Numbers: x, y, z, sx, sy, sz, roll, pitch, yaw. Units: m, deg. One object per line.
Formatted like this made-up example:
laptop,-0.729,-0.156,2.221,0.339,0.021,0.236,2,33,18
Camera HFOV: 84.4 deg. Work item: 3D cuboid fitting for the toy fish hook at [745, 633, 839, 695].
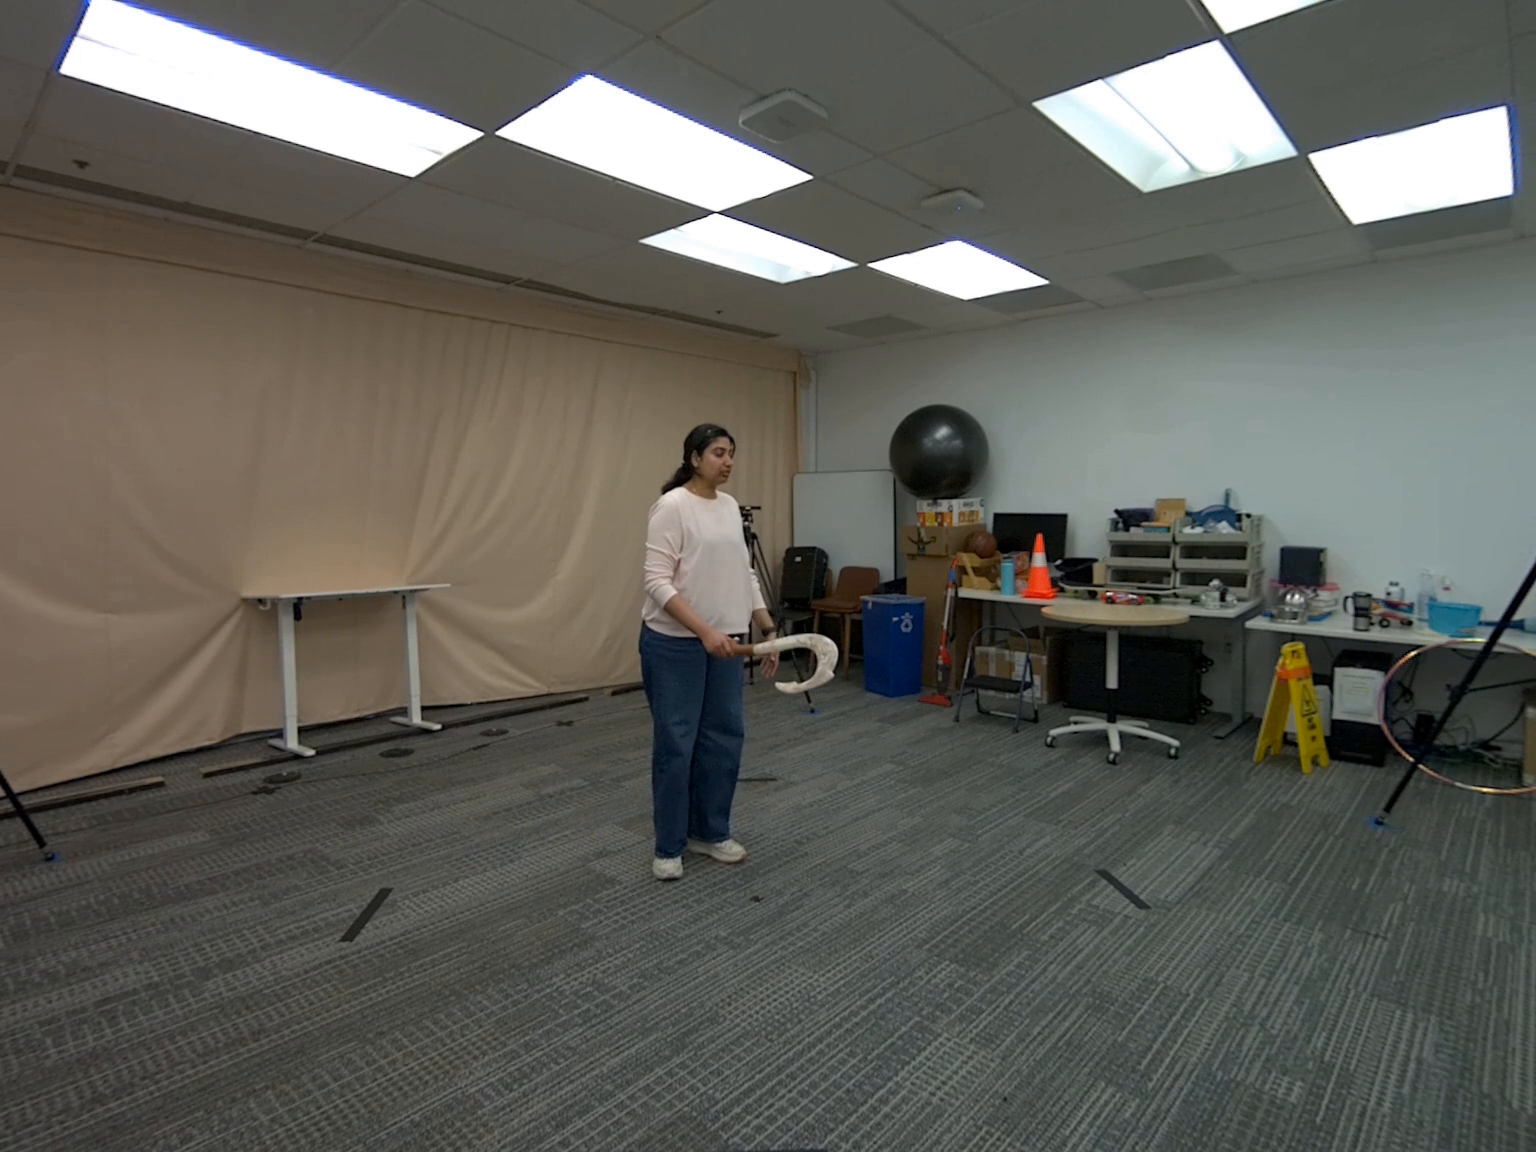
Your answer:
toy fish hook,0.000,0.299,2.863,0.520,0.226,0.047,-3,-41,29
